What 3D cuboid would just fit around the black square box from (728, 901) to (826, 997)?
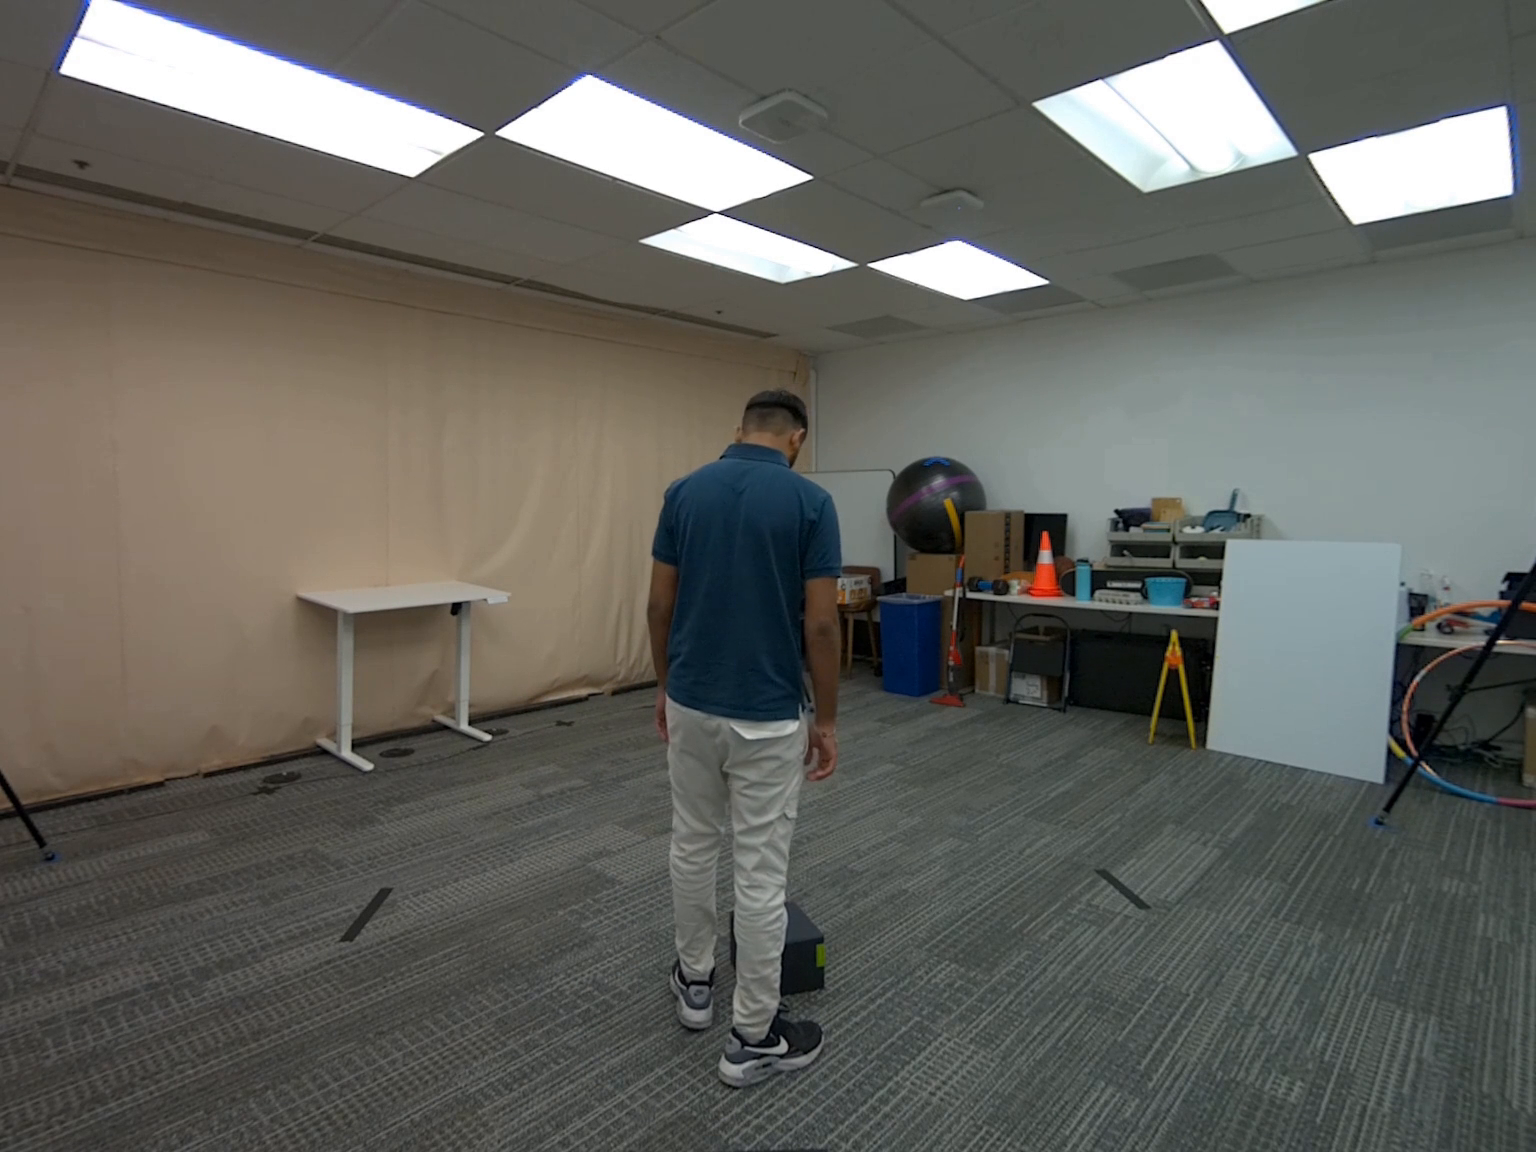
[{"bbox_3d":[0.030,1.104,2.493,0.213,0.155,0.233,-2,5,-20],"label":"black square box"}]
